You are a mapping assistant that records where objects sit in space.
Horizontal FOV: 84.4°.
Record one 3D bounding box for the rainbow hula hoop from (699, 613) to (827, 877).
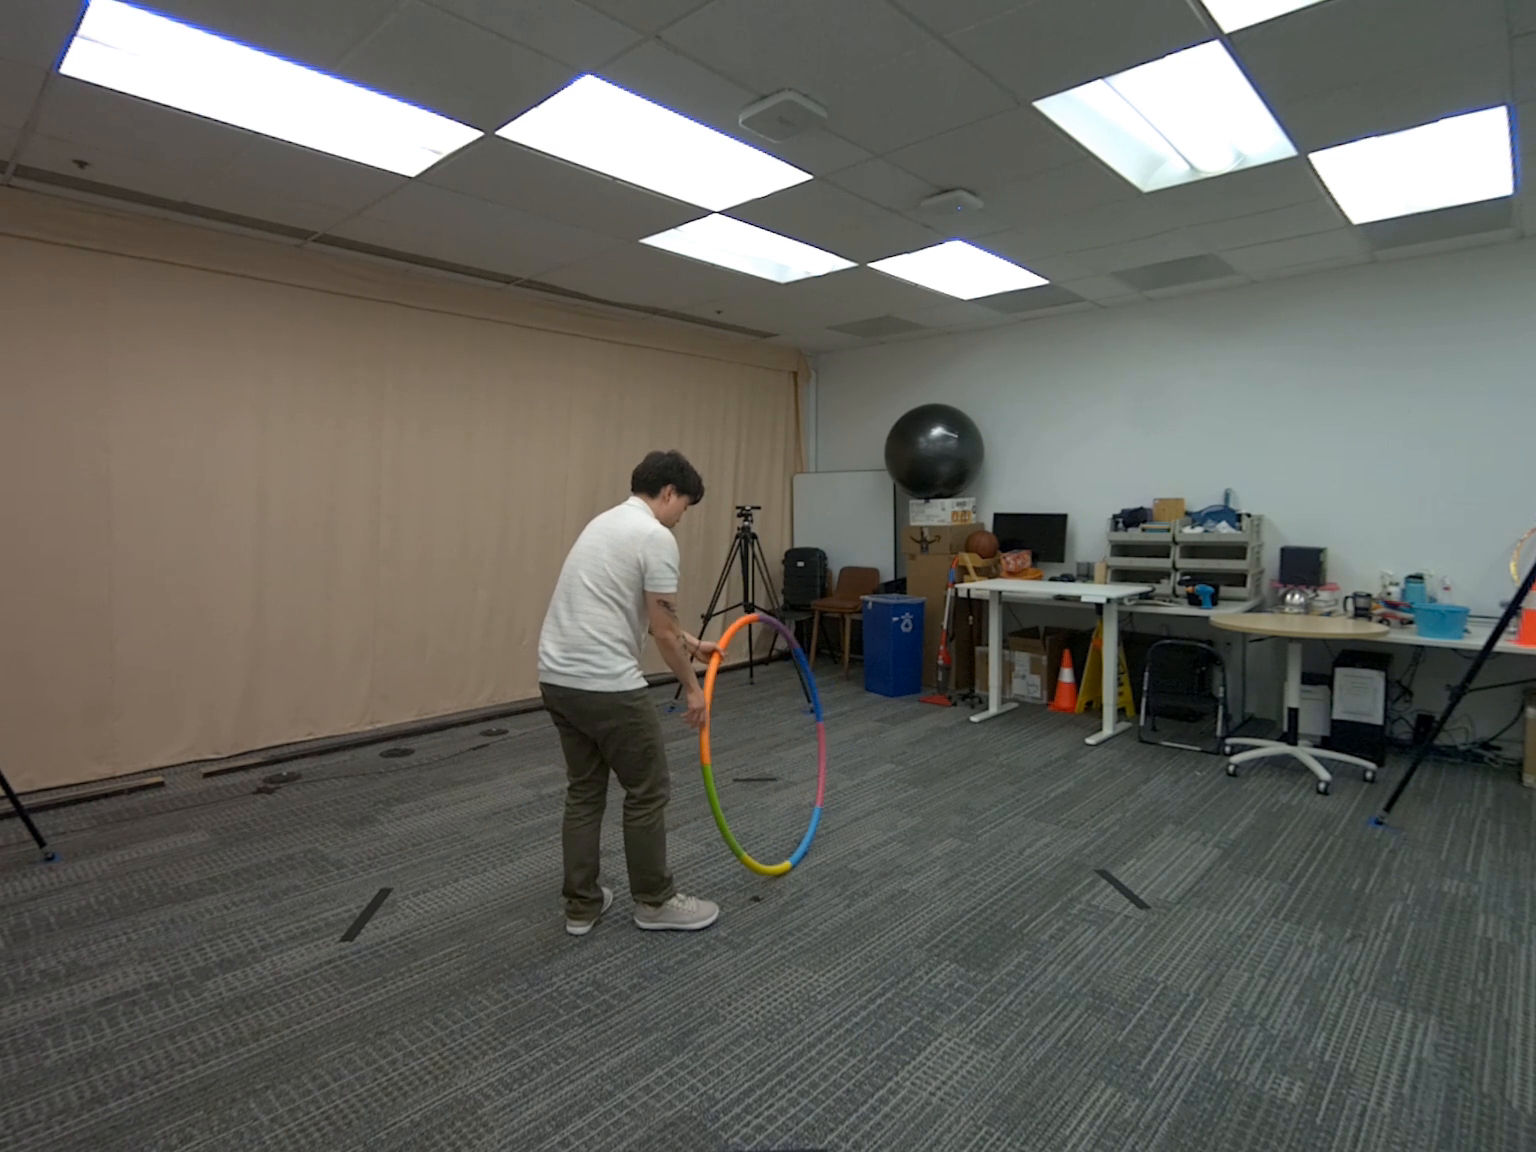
[{"bbox_3d":[0.013,0.641,3.261,0.036,0.981,0.954,-12,-3,28],"label":"rainbow hula hoop"}]
